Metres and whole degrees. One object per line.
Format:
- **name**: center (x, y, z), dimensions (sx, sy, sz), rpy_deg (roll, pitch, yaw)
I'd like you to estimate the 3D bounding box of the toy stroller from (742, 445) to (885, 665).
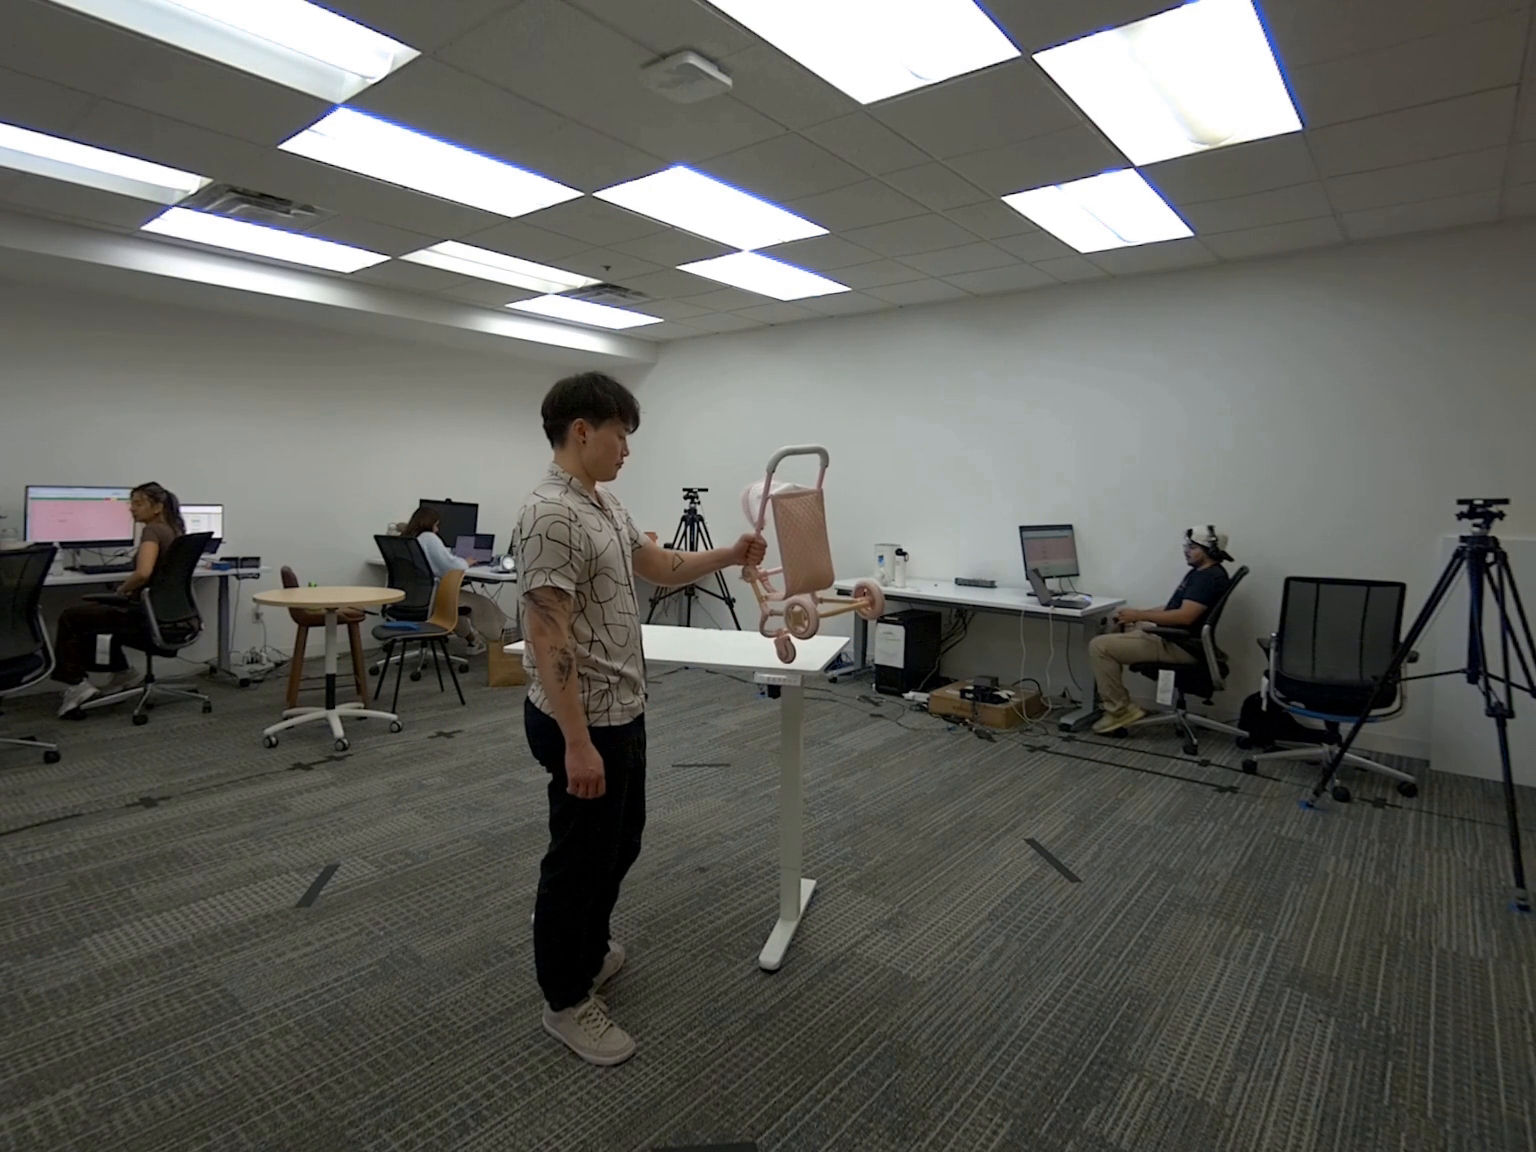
- **toy stroller**: center (0.065, -0.048, 2.288), dimensions (0.275, 0.539, 0.347), rpy_deg (-13, -6, -35)
